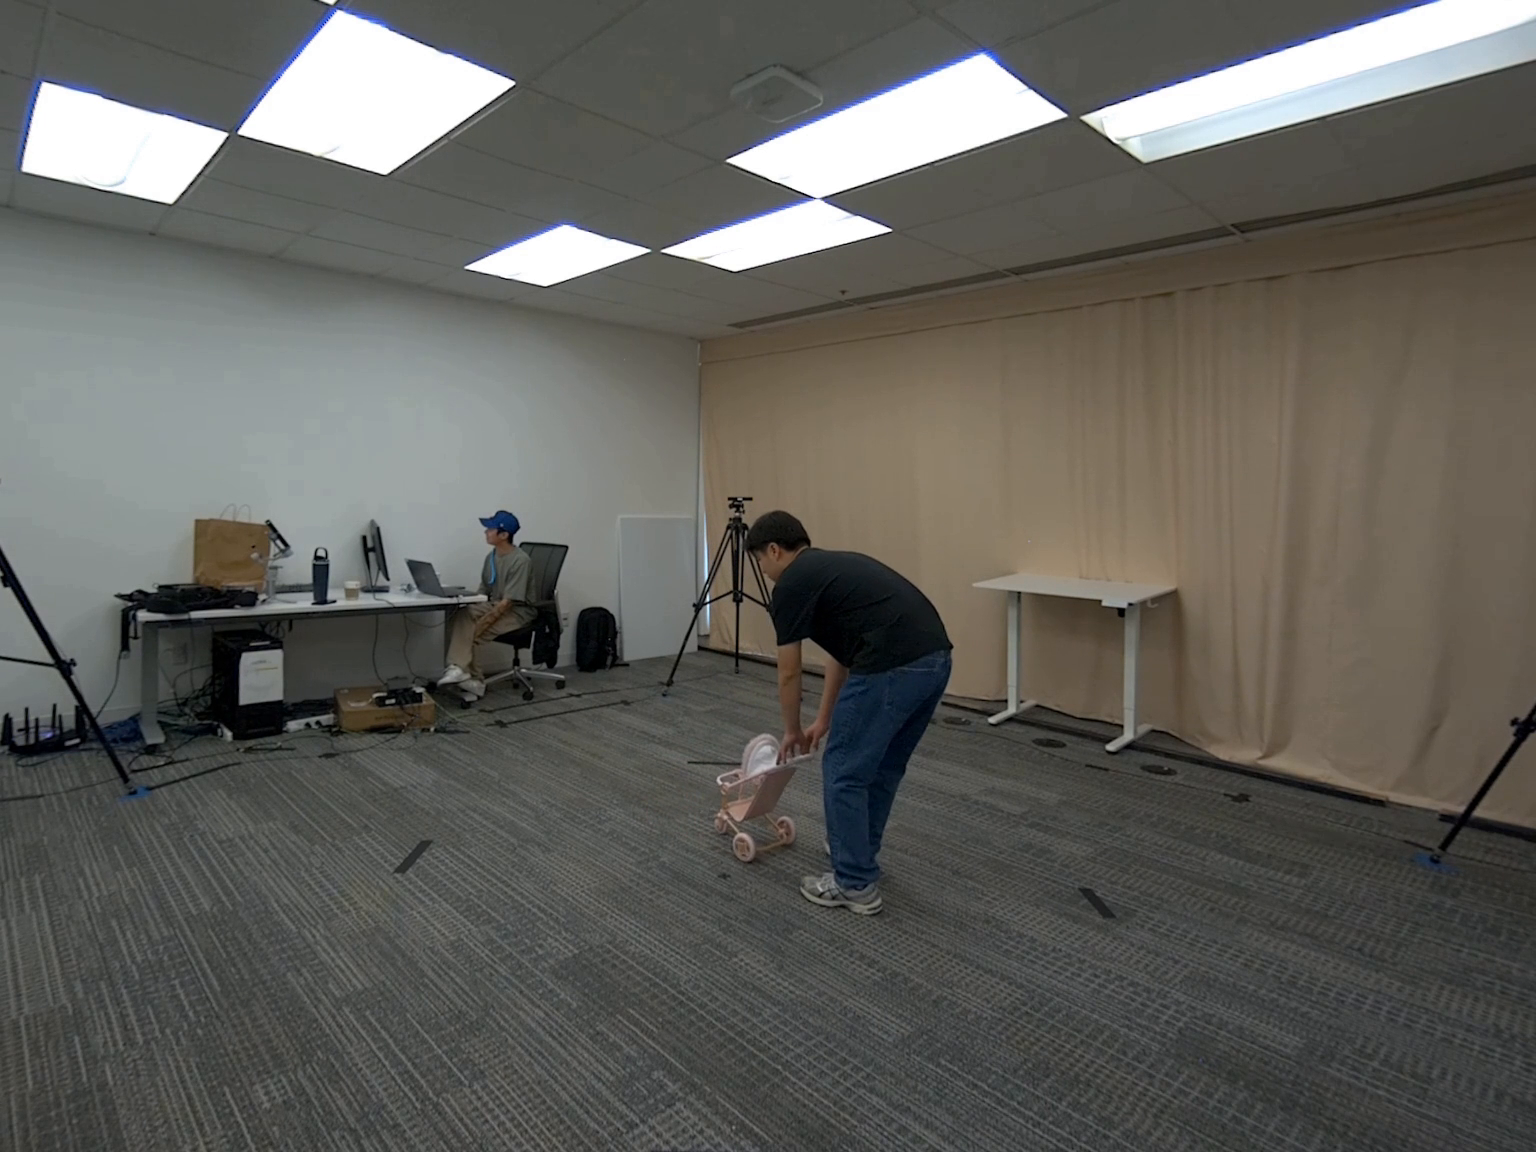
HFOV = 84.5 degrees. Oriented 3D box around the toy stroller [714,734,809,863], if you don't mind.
[{"bbox_3d":[-0.053,0.863,3.358,0.275,0.531,0.352,0,21,-43],"label":"toy stroller"}]
